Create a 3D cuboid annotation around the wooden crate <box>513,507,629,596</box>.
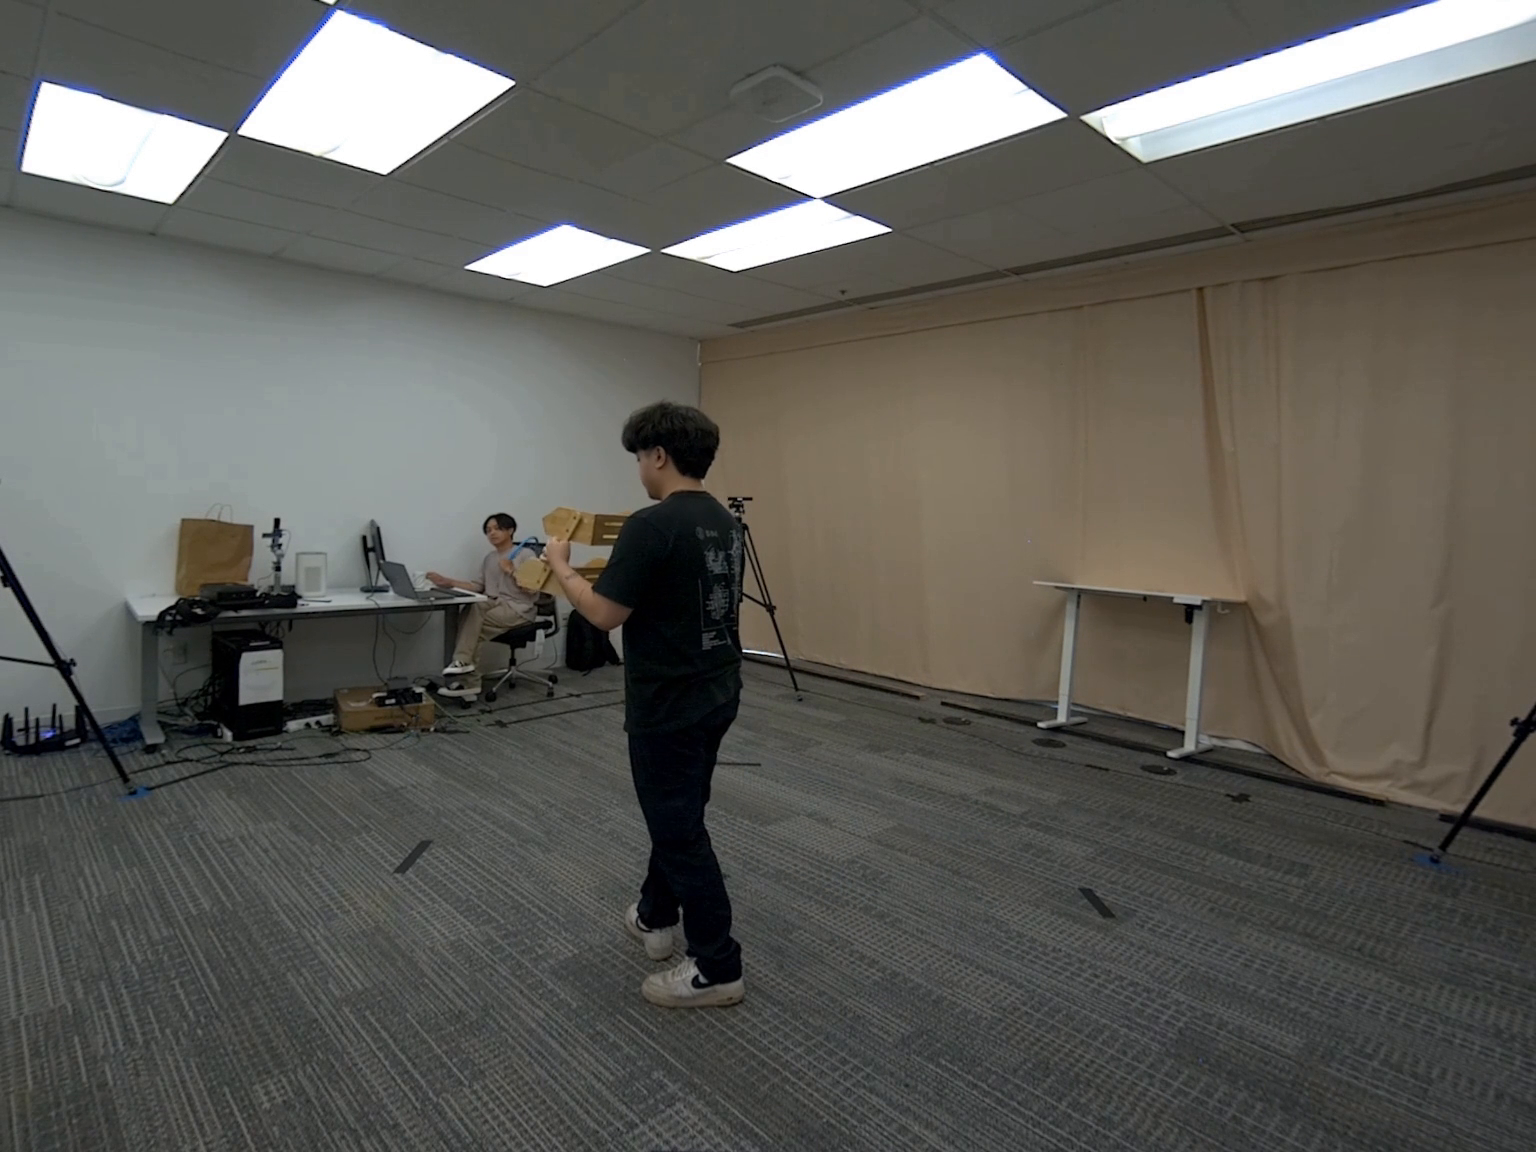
[{"bbox_3d":[-0.563,-0.077,2.611,0.309,0.272,0.318,11,8,31],"label":"wooden crate"}]
